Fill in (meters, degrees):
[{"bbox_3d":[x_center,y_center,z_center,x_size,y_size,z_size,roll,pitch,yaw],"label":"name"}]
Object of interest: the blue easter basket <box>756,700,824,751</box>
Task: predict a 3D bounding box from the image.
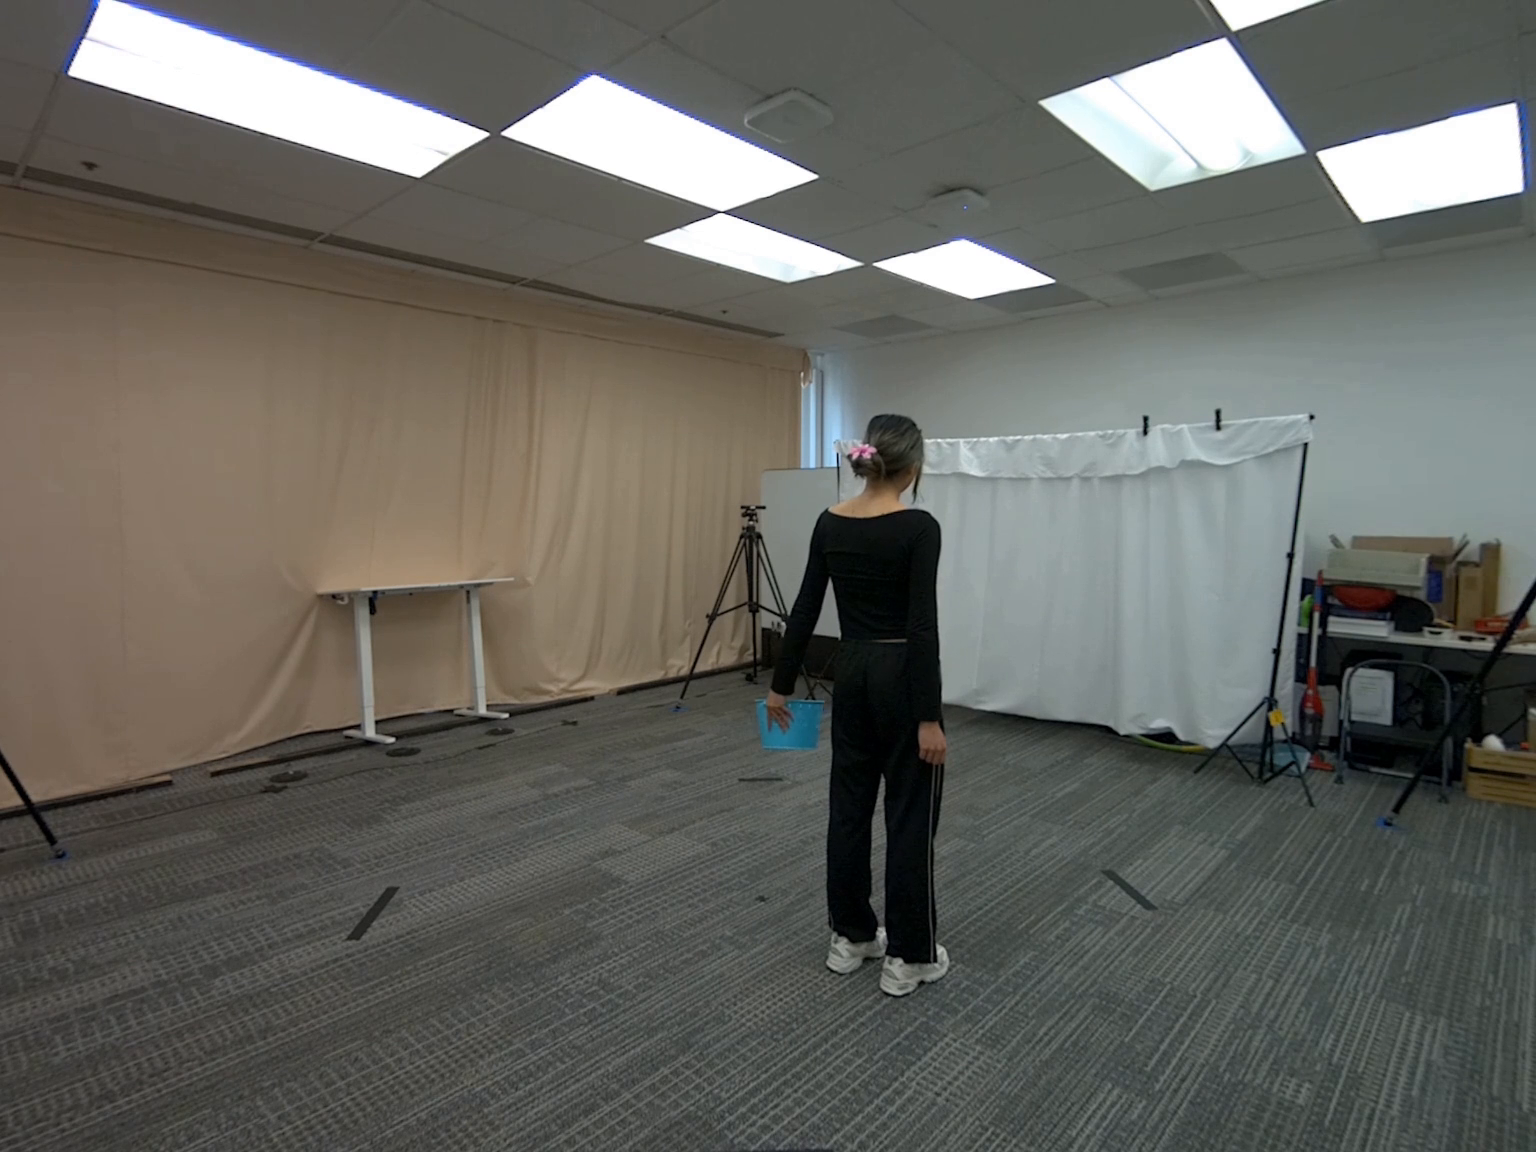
[{"bbox_3d":[0.074,0.488,2.772,0.243,0.157,0.242,2,-9,-2],"label":"blue easter basket"}]
